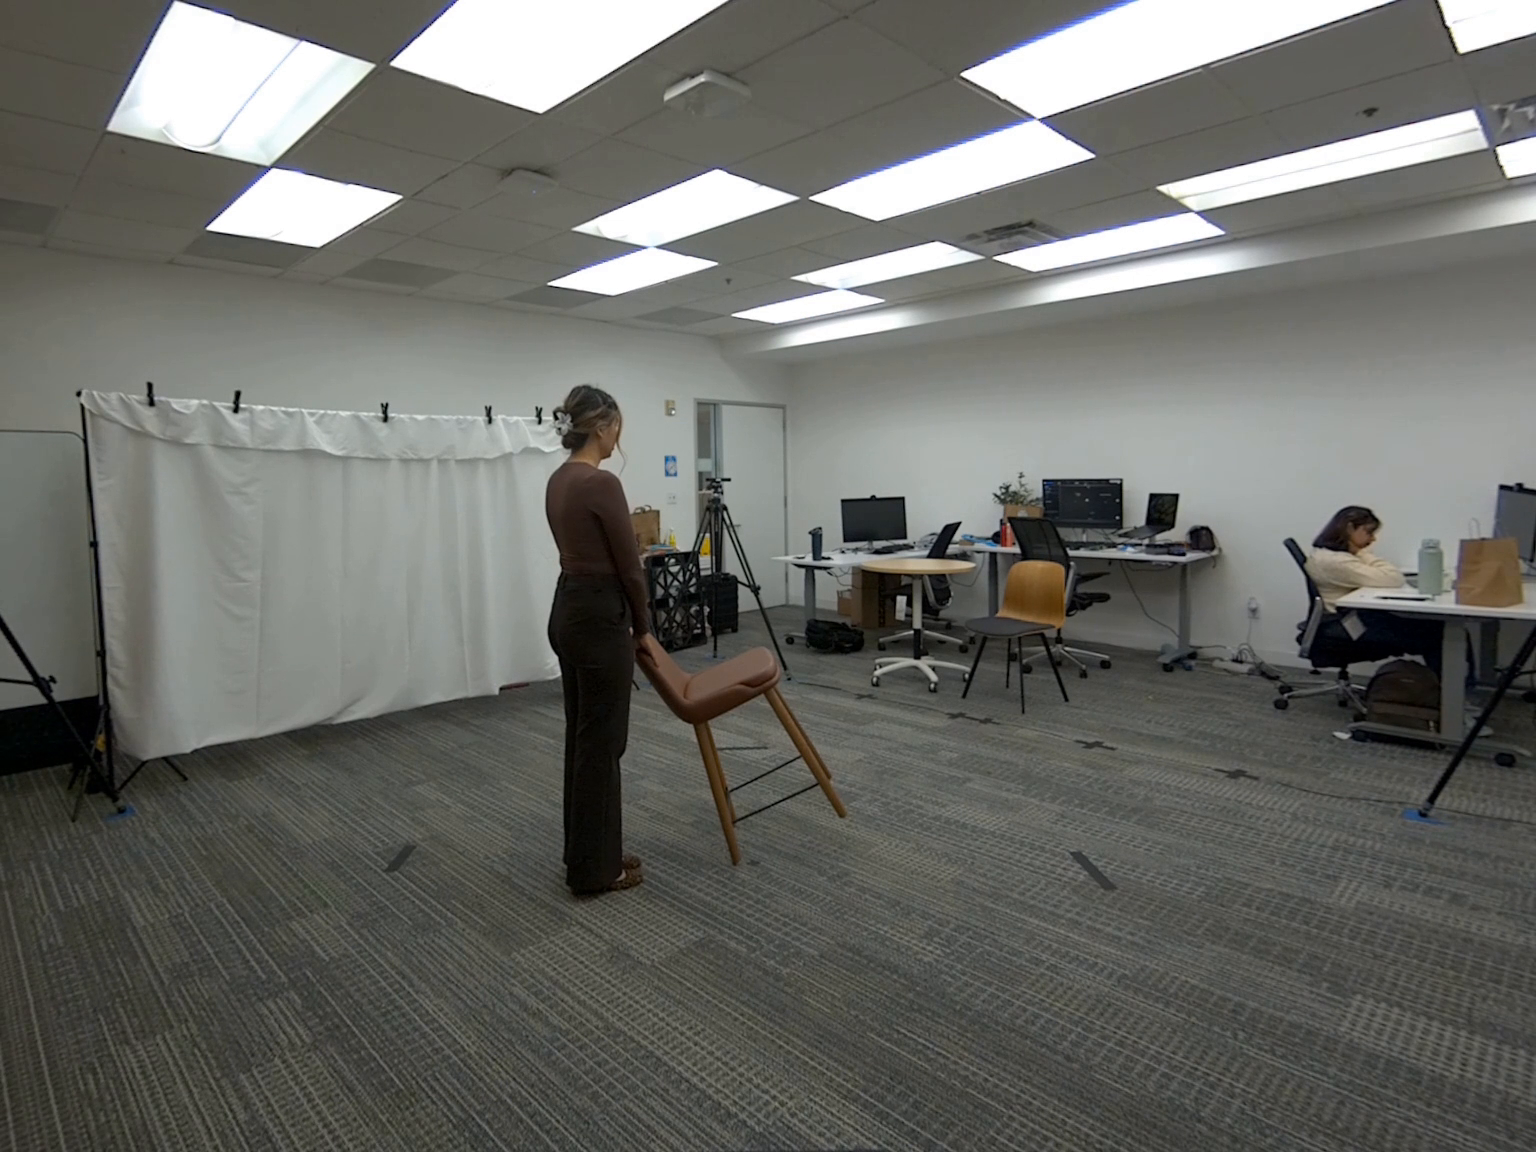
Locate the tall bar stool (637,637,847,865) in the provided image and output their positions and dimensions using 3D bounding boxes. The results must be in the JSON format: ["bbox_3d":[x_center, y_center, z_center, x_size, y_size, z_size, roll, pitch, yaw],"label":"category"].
[{"bbox_3d":[-0.121,0.544,3.246,0.468,0.885,0.459,-27,4,0],"label":"tall bar stool"}]
